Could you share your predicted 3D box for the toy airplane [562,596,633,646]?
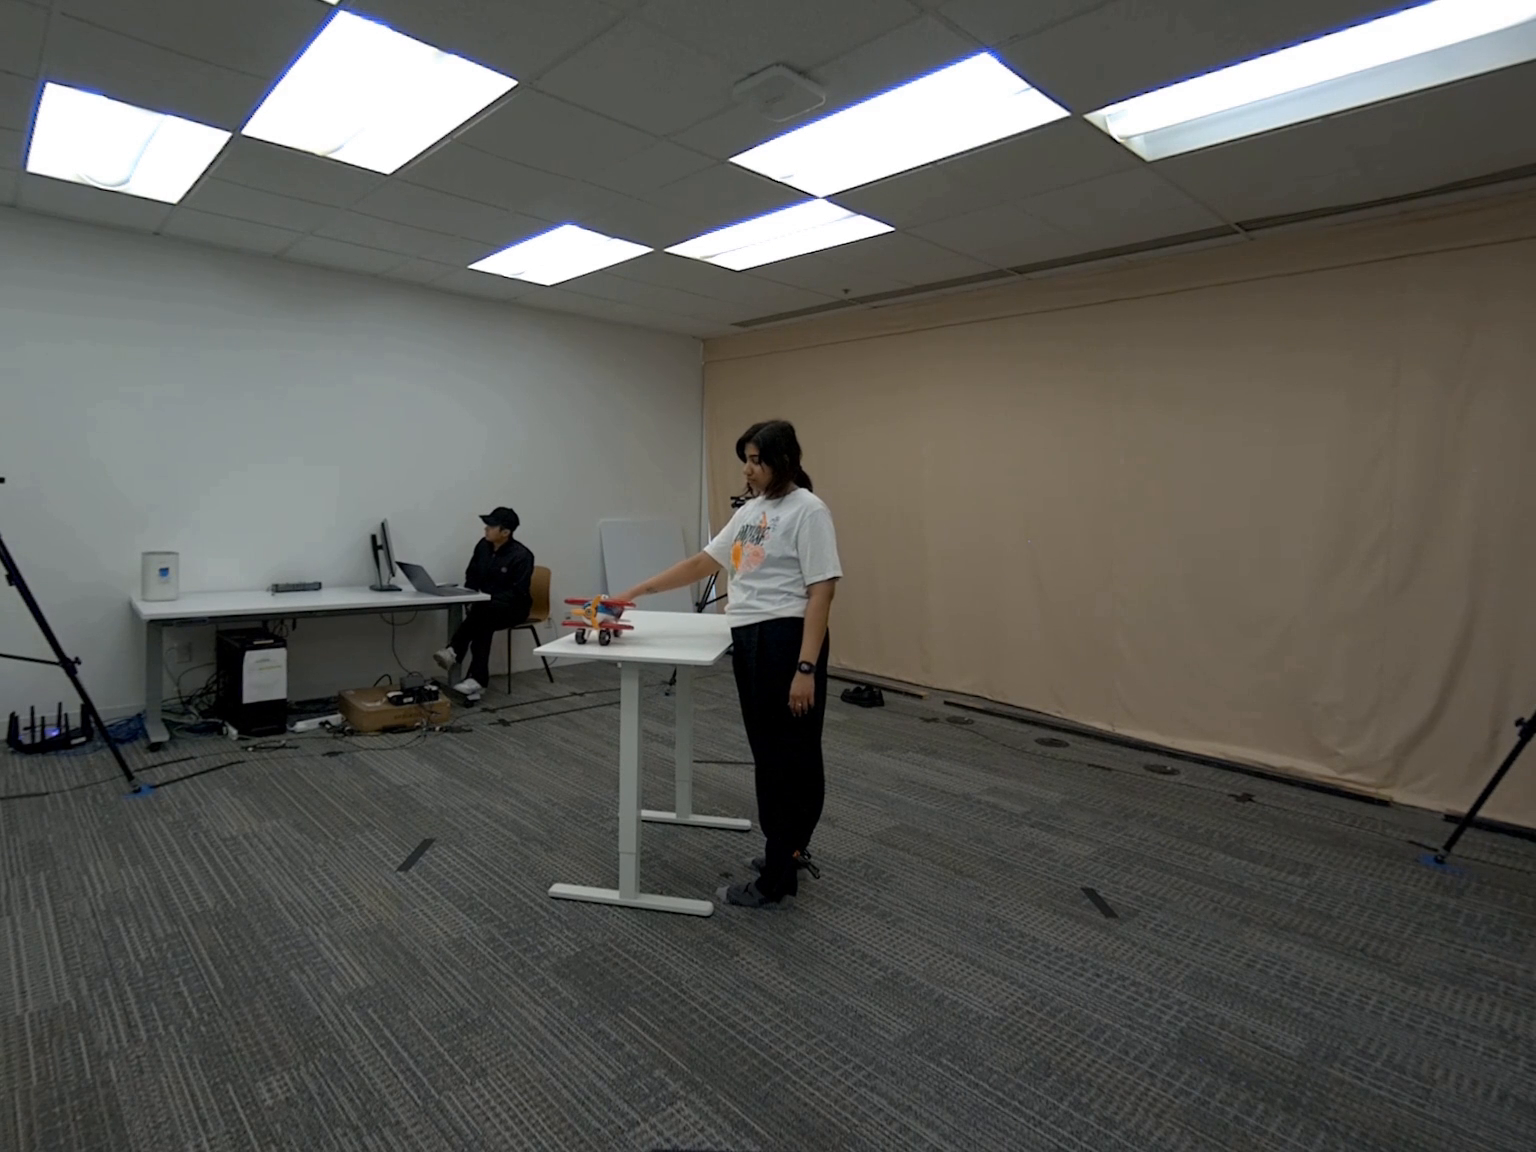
[{"bbox_3d":[-0.603,0.151,2.956,0.248,0.156,0.263,0,5,-14],"label":"toy airplane"}]
